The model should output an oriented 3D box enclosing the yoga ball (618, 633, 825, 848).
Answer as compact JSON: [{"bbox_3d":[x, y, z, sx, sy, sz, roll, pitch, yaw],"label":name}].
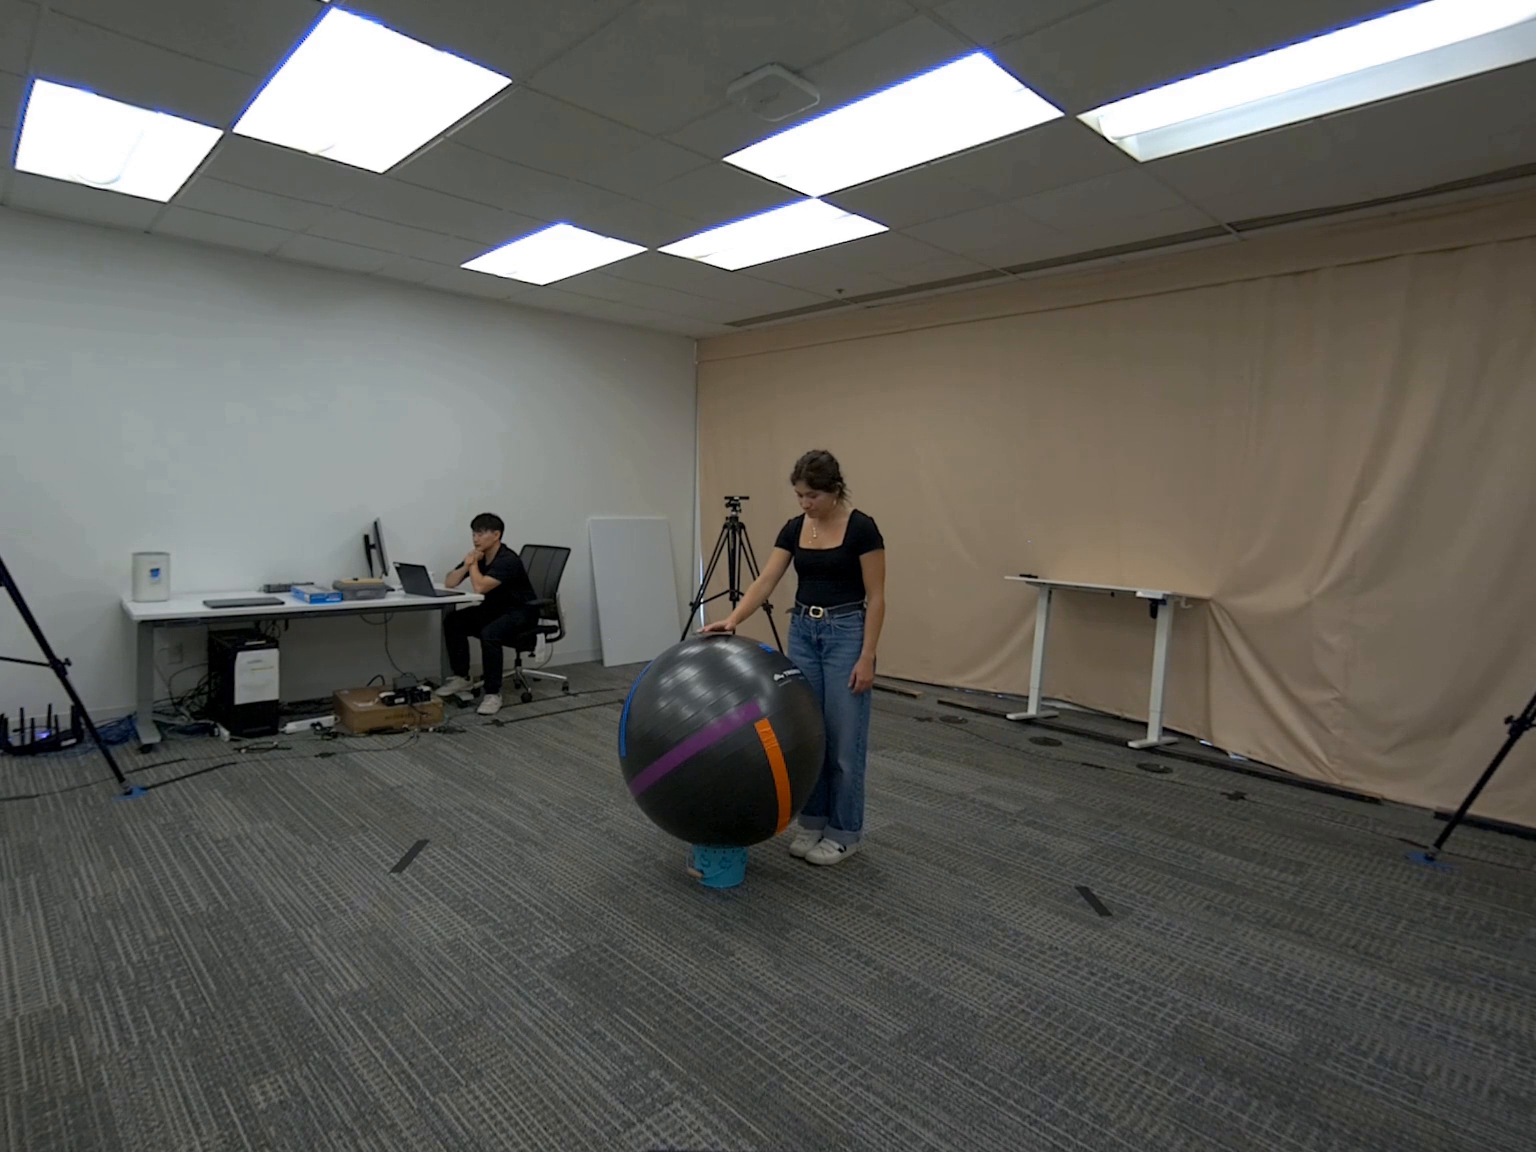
[{"bbox_3d":[-0.176,0.595,3.066,0.757,0.756,0.761,1,4,-1],"label":"yoga ball"}]
